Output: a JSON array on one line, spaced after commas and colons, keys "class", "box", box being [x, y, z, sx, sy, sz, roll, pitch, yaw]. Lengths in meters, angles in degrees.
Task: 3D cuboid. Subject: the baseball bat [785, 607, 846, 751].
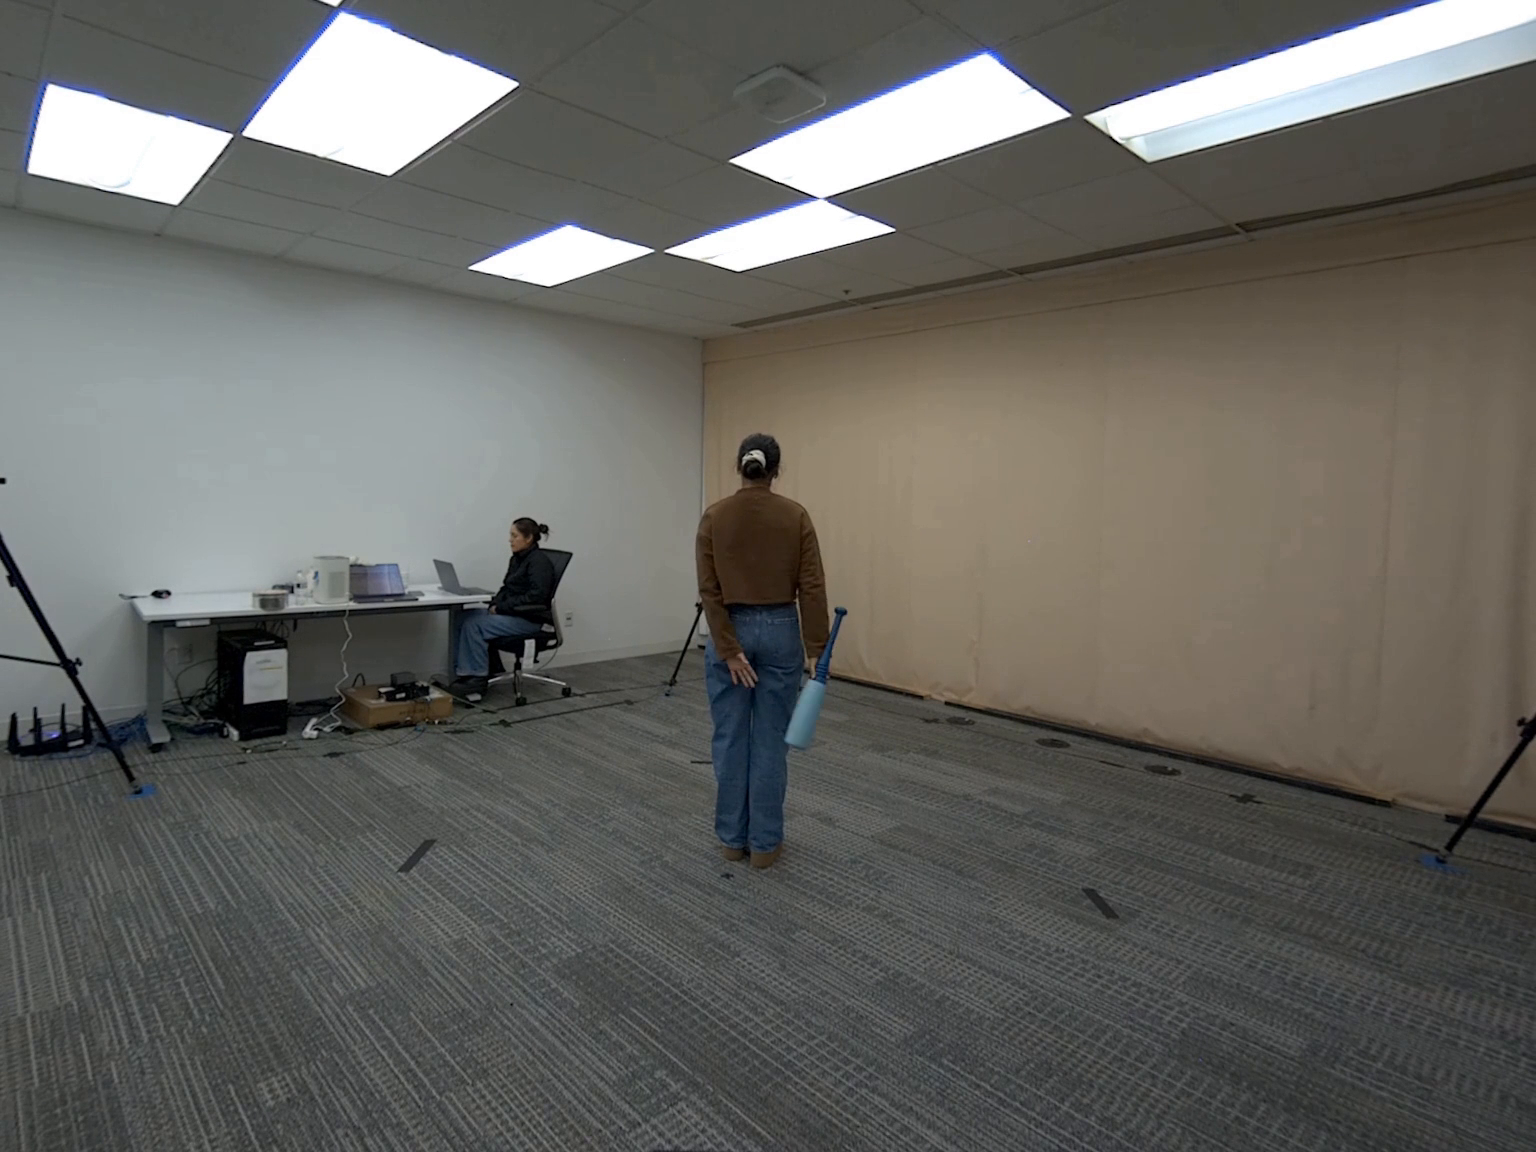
[{"class": "baseball bat", "box": [0.176, 0.361, 3.117, 0.089, 0.545, 0.088, 19, -9, 1]}]
